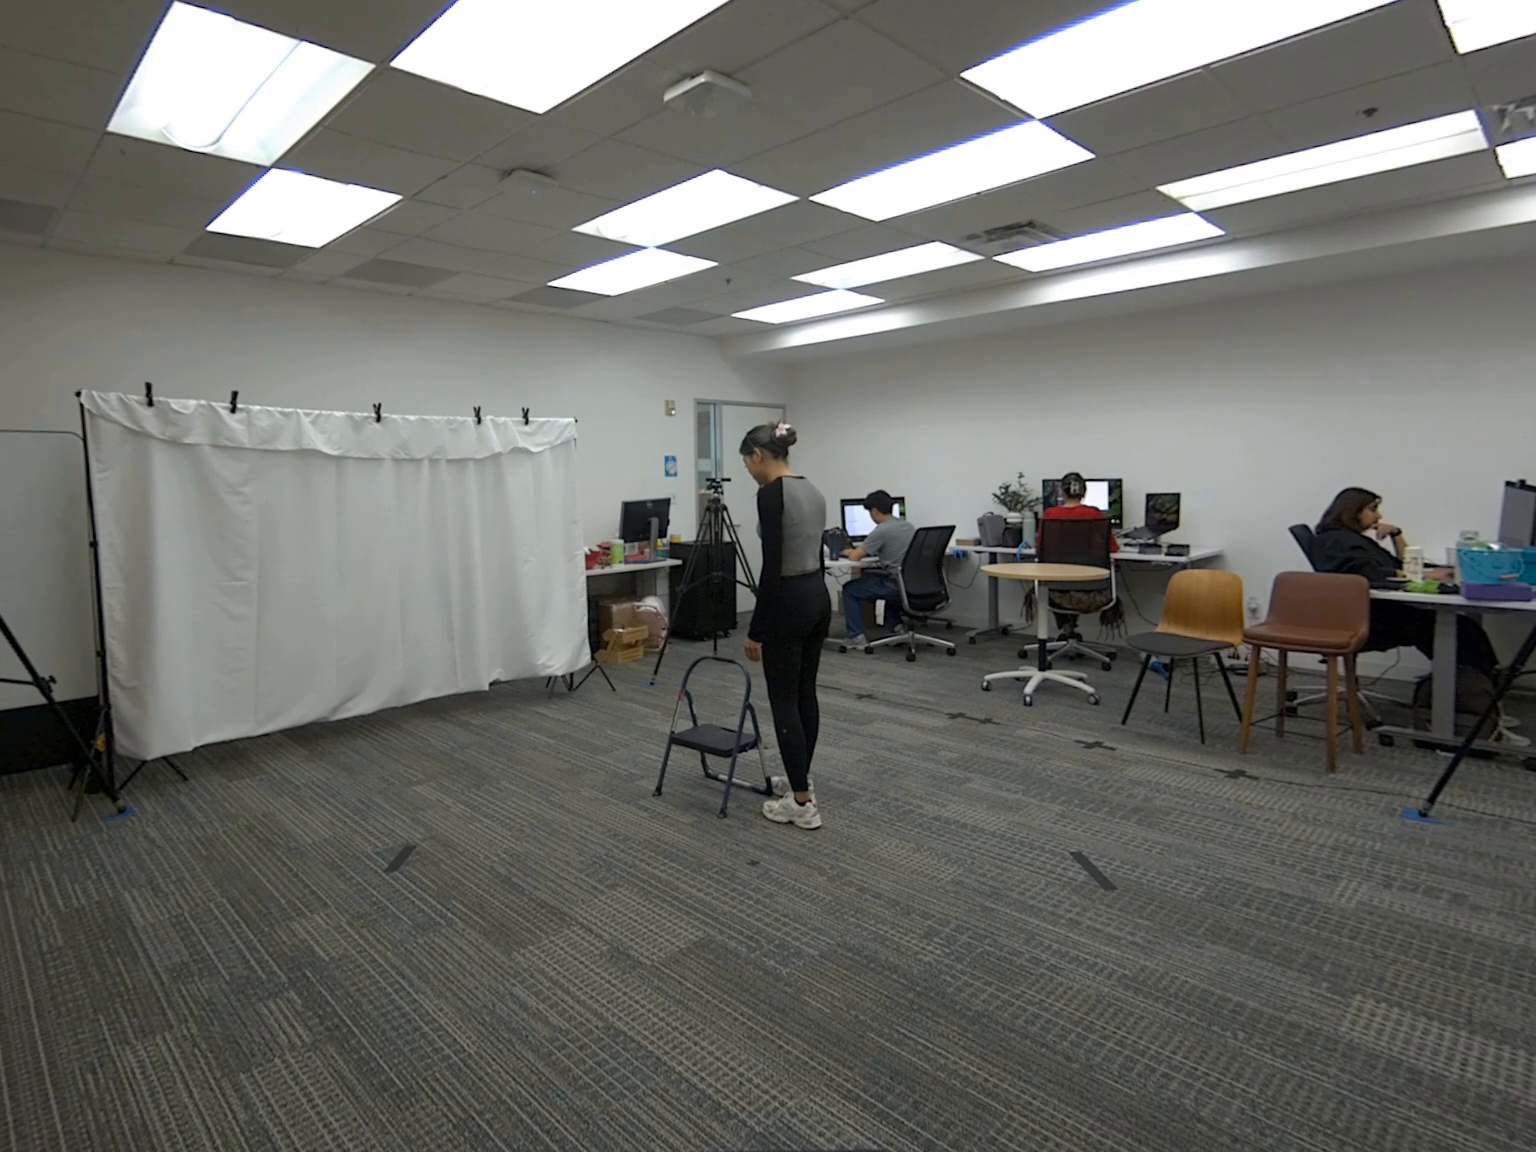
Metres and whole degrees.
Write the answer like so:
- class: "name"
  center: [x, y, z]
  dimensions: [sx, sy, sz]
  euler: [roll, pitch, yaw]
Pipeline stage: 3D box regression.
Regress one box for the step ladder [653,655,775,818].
- class: "step ladder"
  center: [-0.247, 0.670, 3.766]
  dimensions: [0.444, 0.604, 0.340]
  euler: [3, 6, 41]
